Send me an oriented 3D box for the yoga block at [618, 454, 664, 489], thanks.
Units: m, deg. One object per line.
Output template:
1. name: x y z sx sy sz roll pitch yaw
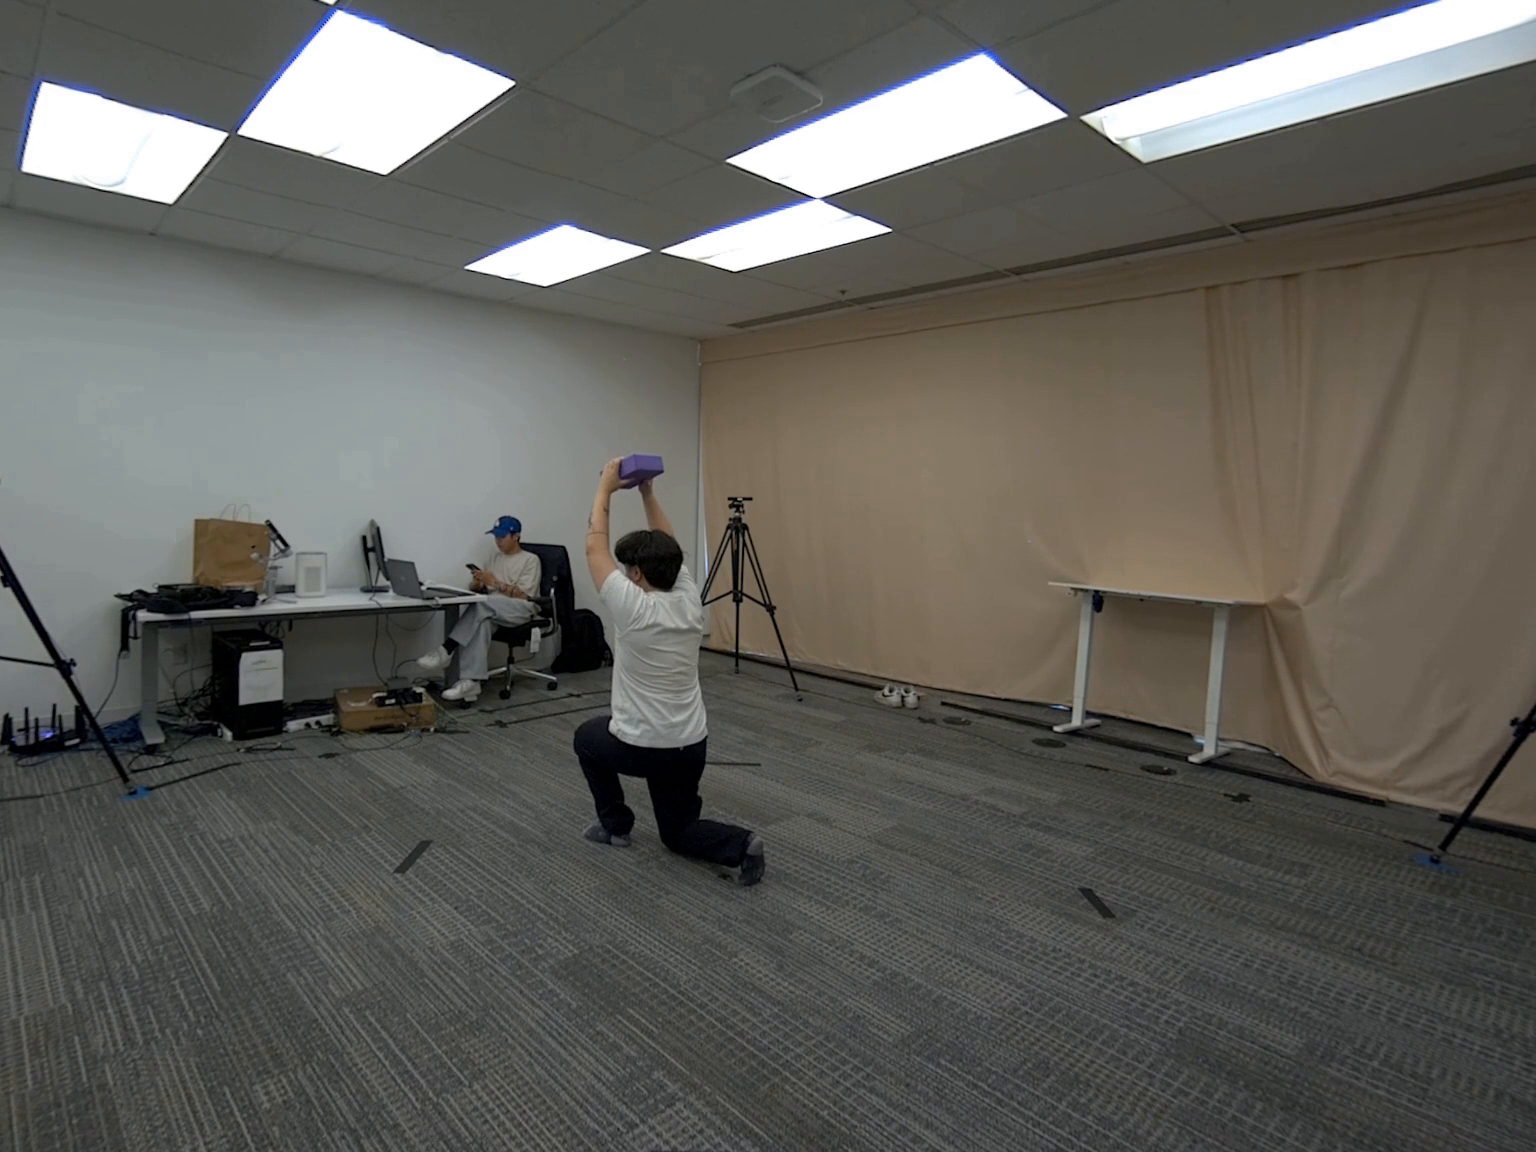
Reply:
1. yoga block: -0.543 -0.422 3.343 0.146 0.077 0.233 -4 -8 -46
